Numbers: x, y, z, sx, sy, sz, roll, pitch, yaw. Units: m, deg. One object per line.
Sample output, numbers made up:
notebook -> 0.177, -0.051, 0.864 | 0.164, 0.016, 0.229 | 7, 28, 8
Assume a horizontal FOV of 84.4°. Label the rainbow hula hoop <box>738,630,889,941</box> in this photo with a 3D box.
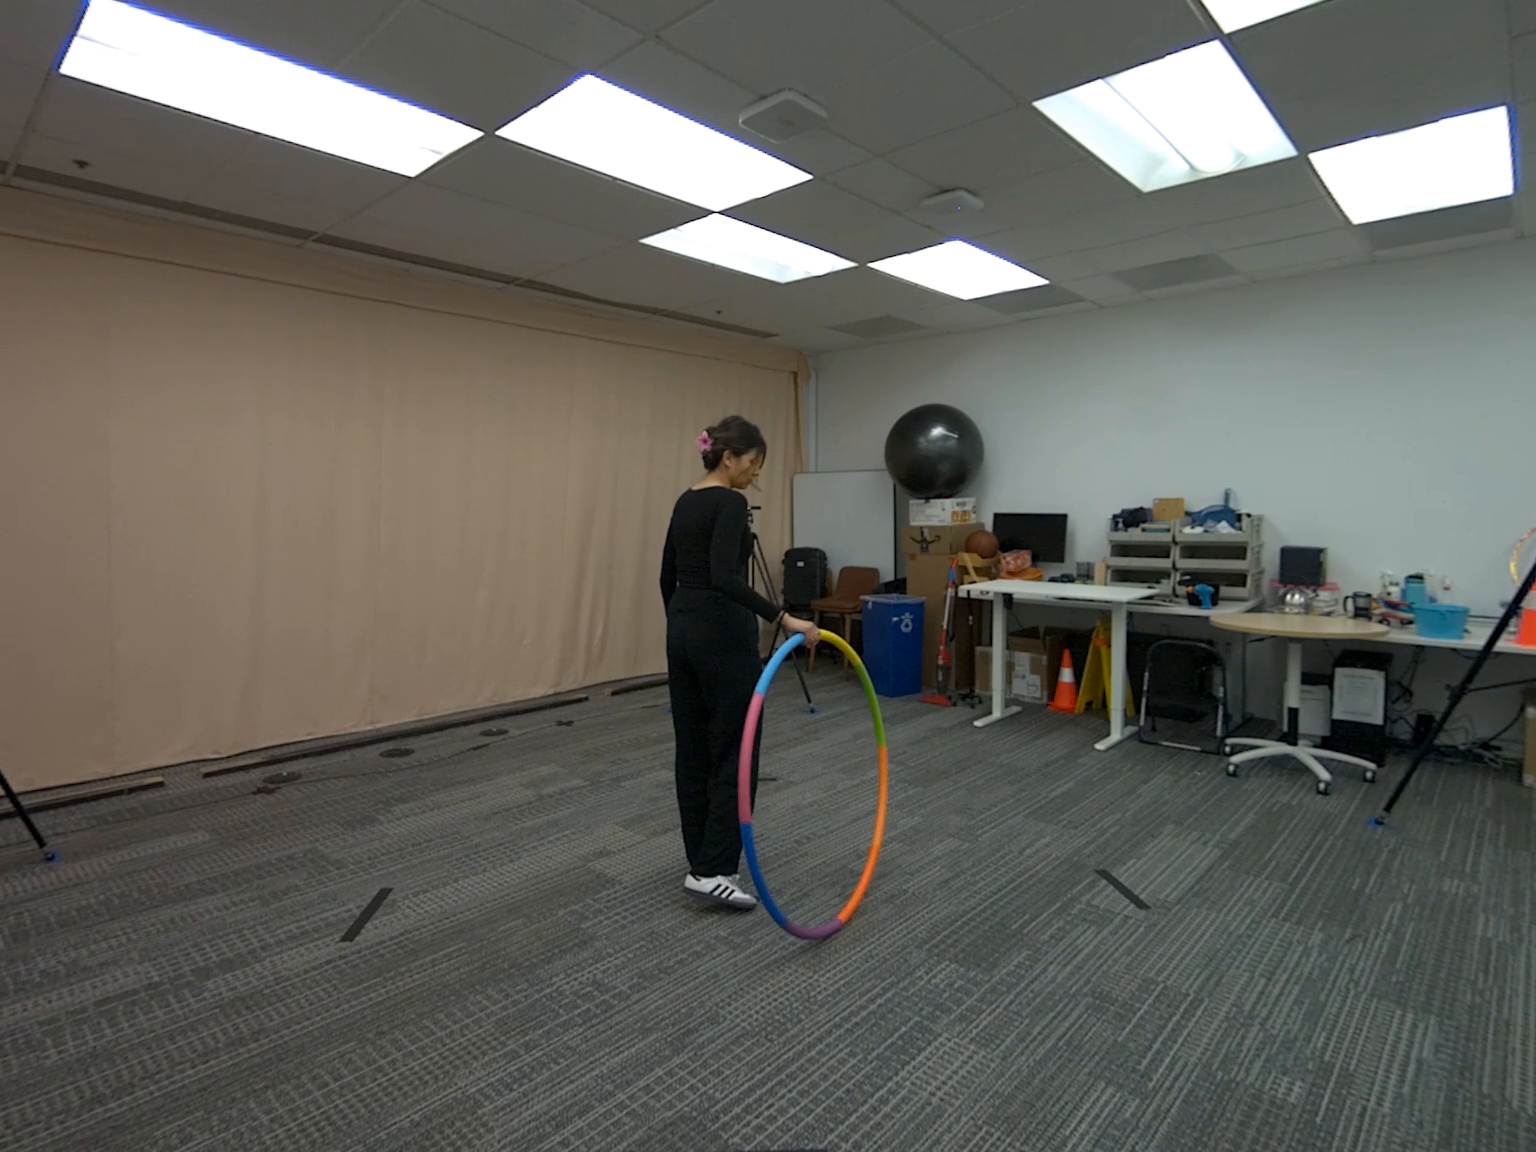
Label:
rainbow hula hoop -> 0.177, 0.676, 2.775 | 0.036, 0.979, 0.951 | -6, 0, 33
